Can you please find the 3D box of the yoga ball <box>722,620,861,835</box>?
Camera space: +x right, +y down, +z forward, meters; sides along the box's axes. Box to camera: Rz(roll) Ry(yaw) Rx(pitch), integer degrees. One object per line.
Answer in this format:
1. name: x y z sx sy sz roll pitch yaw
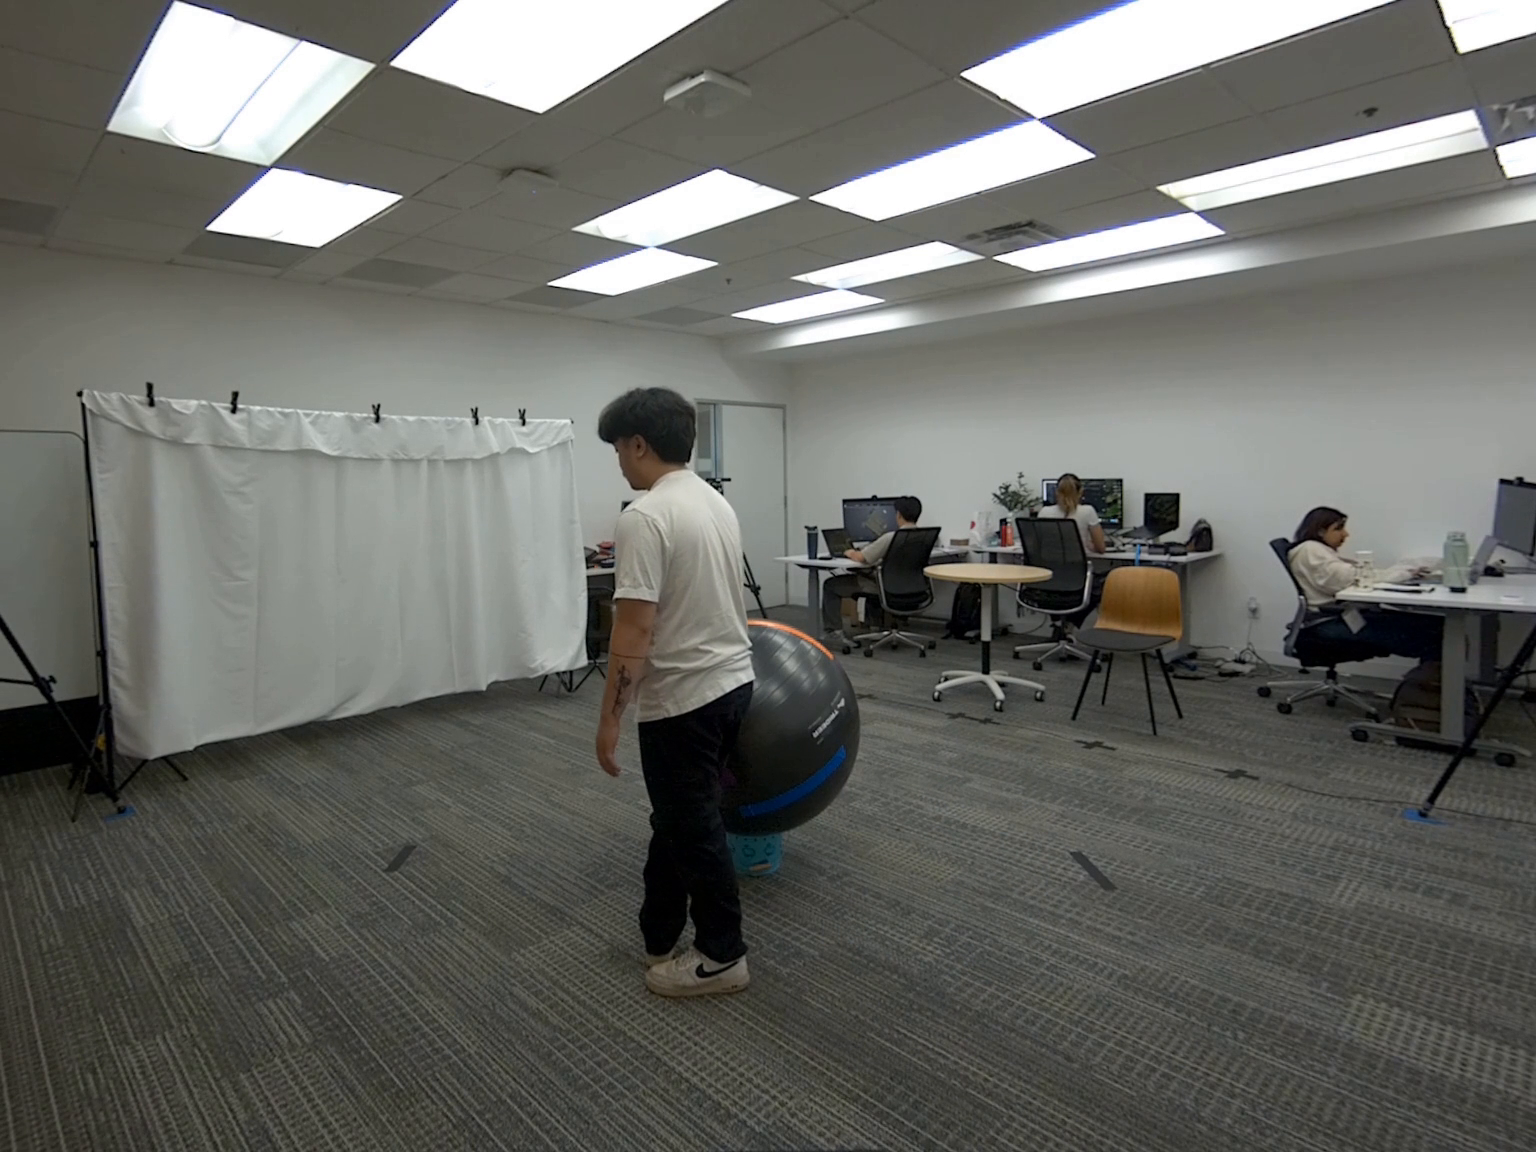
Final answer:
1. yoga ball: -0.054 0.538 3.063 0.757 0.755 0.762 -1 5 -2
